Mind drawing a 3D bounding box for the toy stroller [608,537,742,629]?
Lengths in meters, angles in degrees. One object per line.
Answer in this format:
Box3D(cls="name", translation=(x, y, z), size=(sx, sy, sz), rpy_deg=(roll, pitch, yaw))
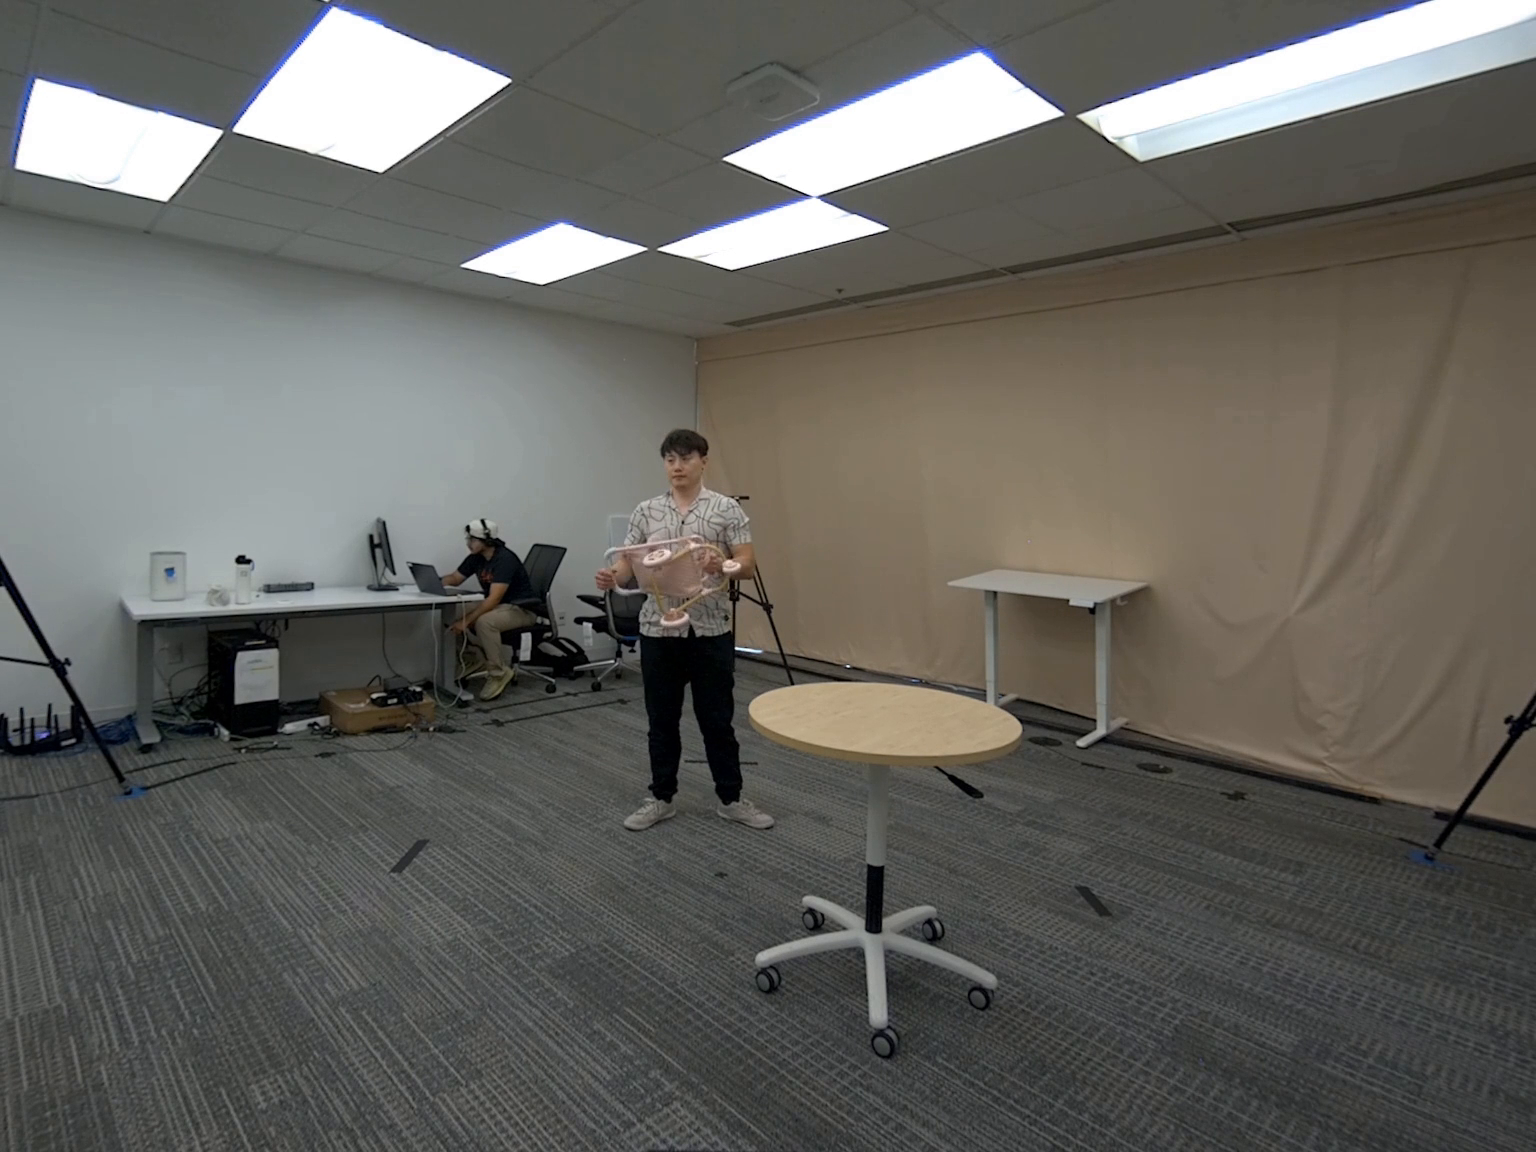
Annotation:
Box3D(cls="toy stroller", translation=(-0.368, -0.022, 3.216), size=(0.339, 0.276, 0.549), rpy_deg=(-30, 25, -24))
